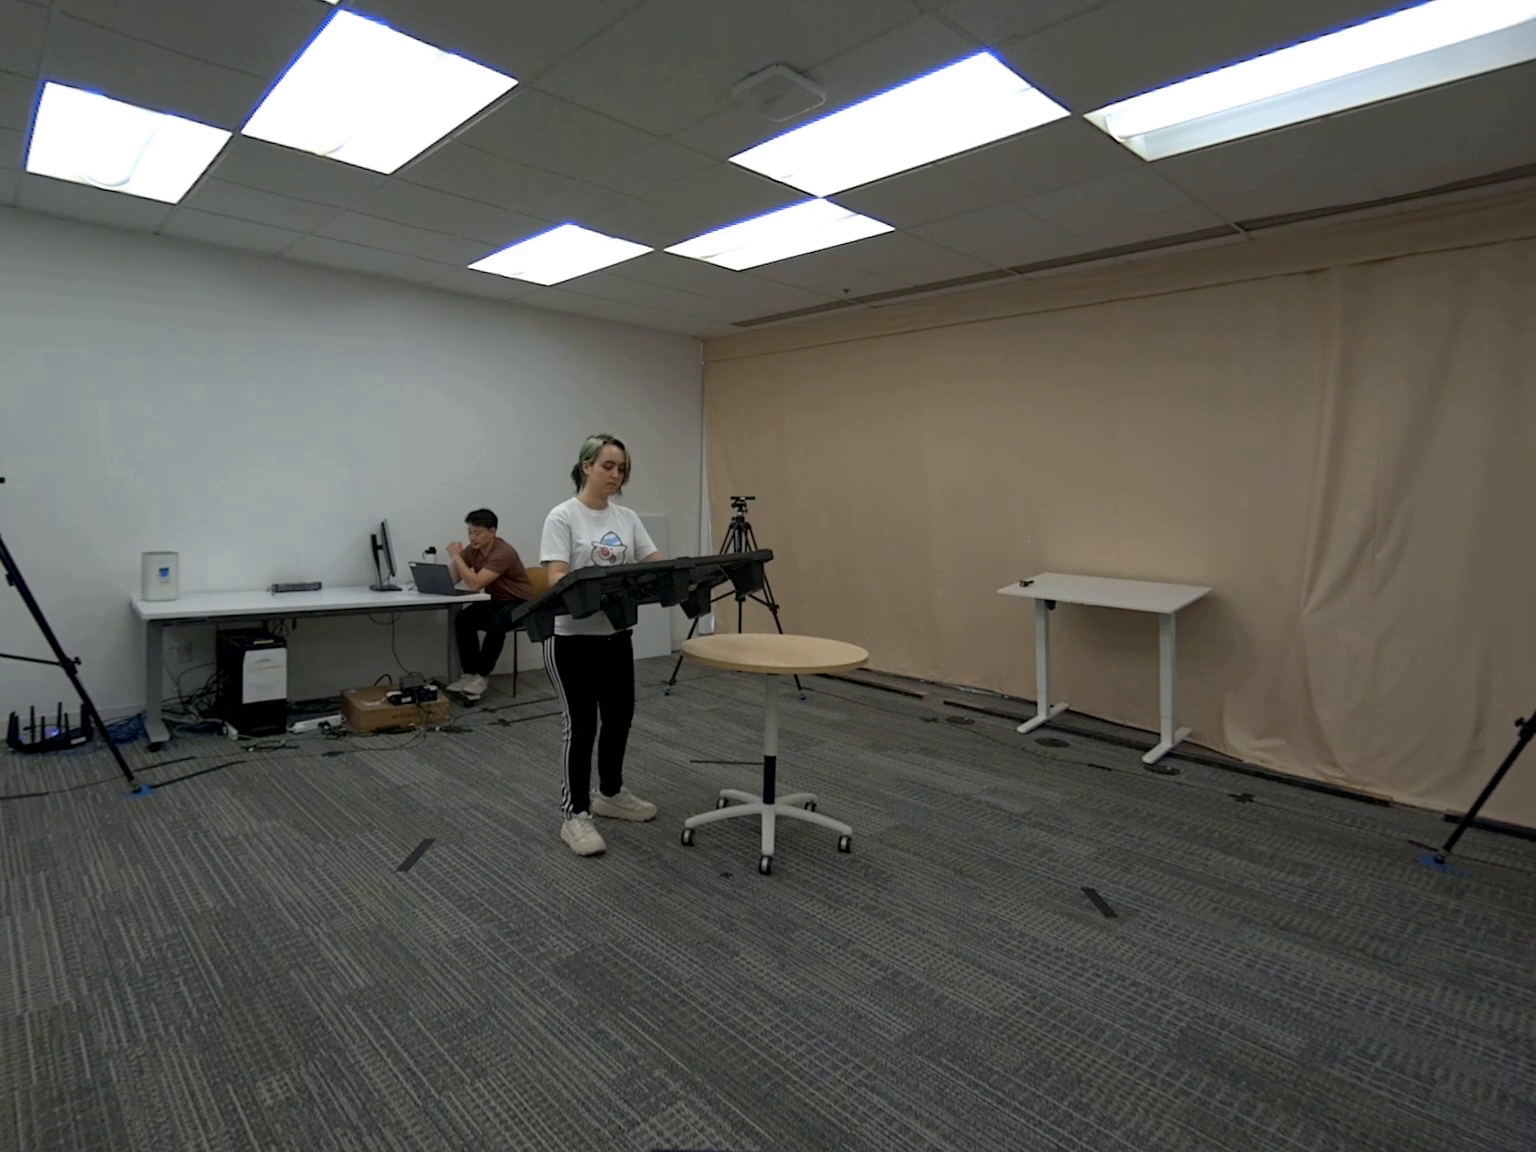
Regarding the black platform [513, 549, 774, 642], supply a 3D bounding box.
[{"bbox_3d":[-0.444,0.078,3.064,0.789,0.144,0.612,-7,-11,-38],"label":"black platform"}]
